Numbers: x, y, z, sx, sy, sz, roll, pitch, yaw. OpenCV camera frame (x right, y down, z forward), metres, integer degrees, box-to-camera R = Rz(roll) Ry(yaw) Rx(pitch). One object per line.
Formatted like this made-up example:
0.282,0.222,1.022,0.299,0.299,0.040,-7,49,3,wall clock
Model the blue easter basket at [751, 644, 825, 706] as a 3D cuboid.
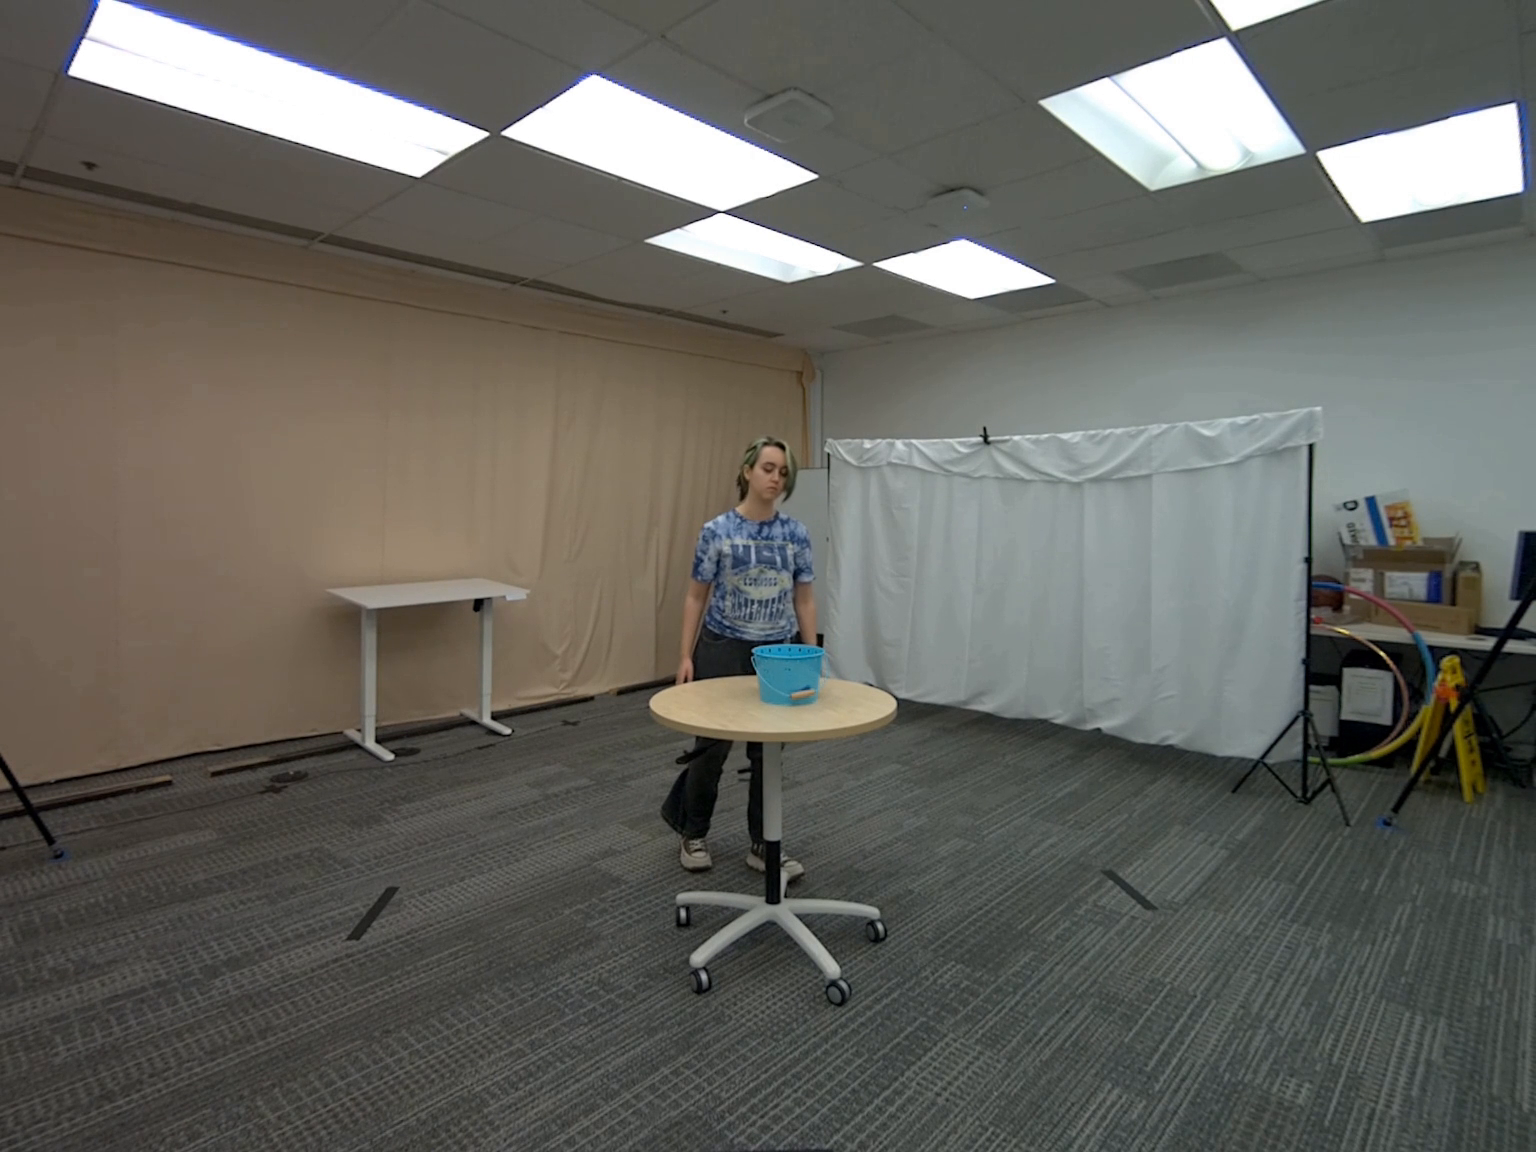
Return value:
0.062,0.311,2.644,0.243,0.156,0.244,-1,3,-2,blue easter basket
